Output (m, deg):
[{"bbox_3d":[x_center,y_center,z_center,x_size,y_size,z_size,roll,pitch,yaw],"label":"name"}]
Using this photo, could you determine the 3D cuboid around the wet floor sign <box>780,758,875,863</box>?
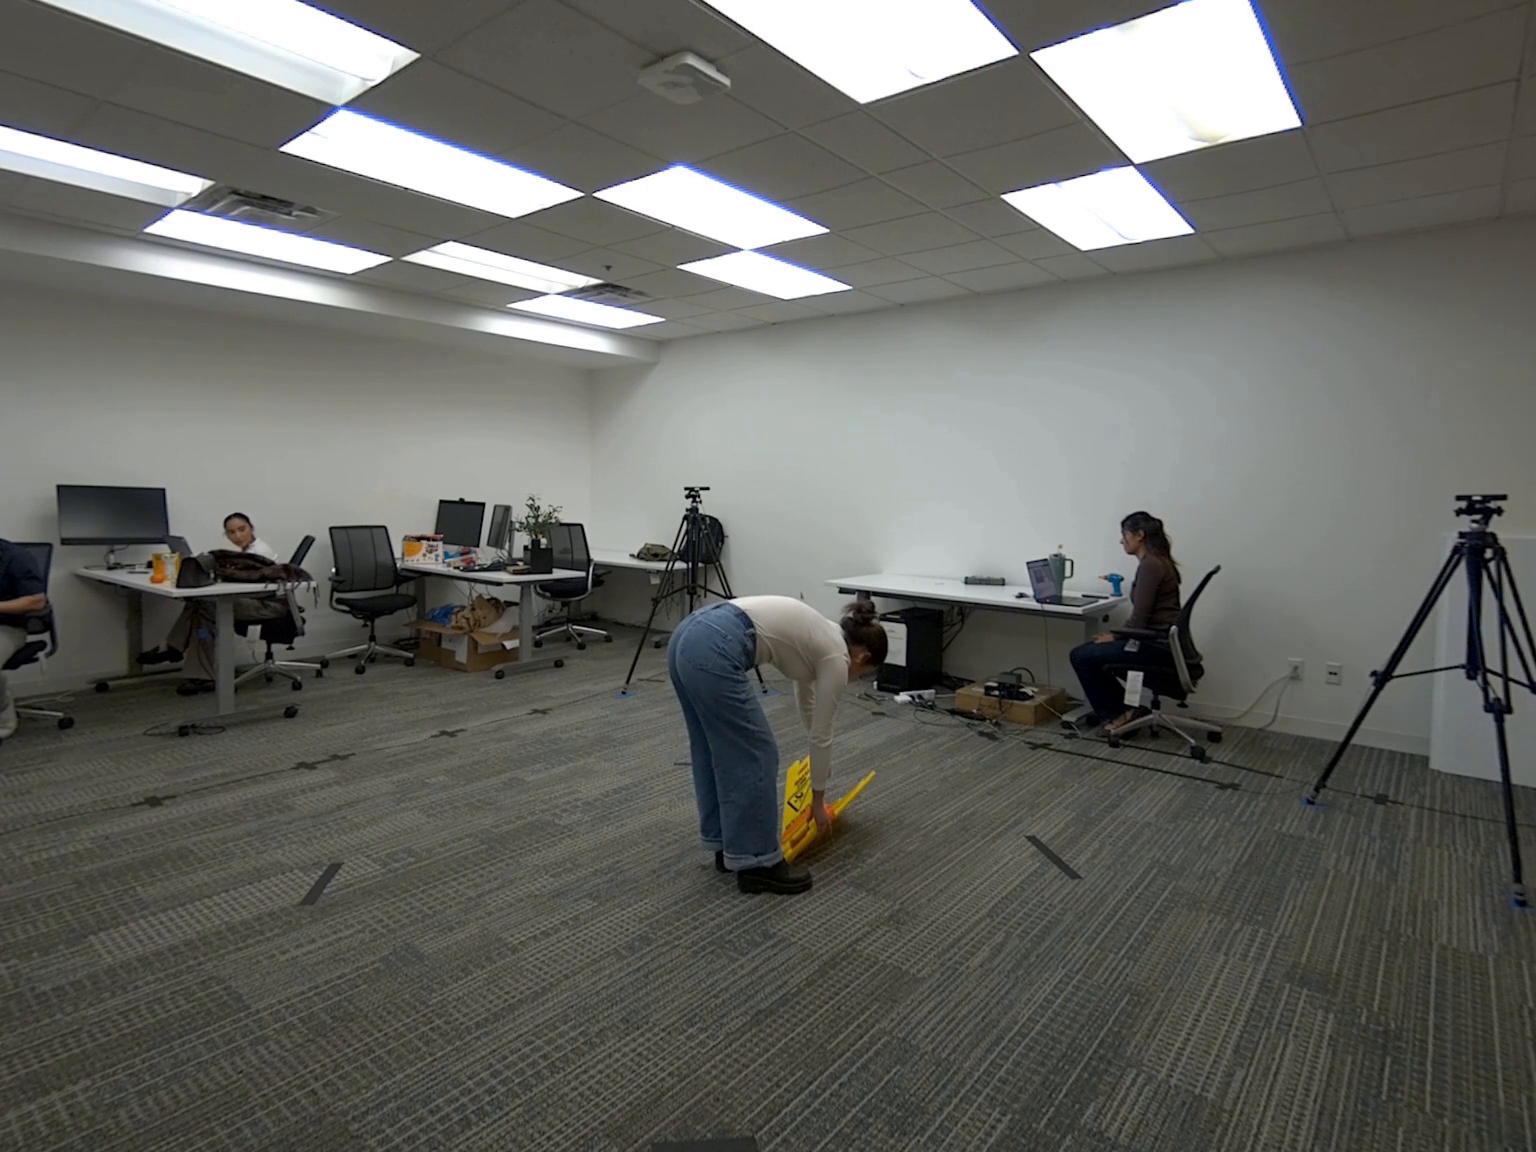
[{"bbox_3d":[0.188,0.917,3.382,0.292,0.282,0.643,40,20,2],"label":"wet floor sign"}]
